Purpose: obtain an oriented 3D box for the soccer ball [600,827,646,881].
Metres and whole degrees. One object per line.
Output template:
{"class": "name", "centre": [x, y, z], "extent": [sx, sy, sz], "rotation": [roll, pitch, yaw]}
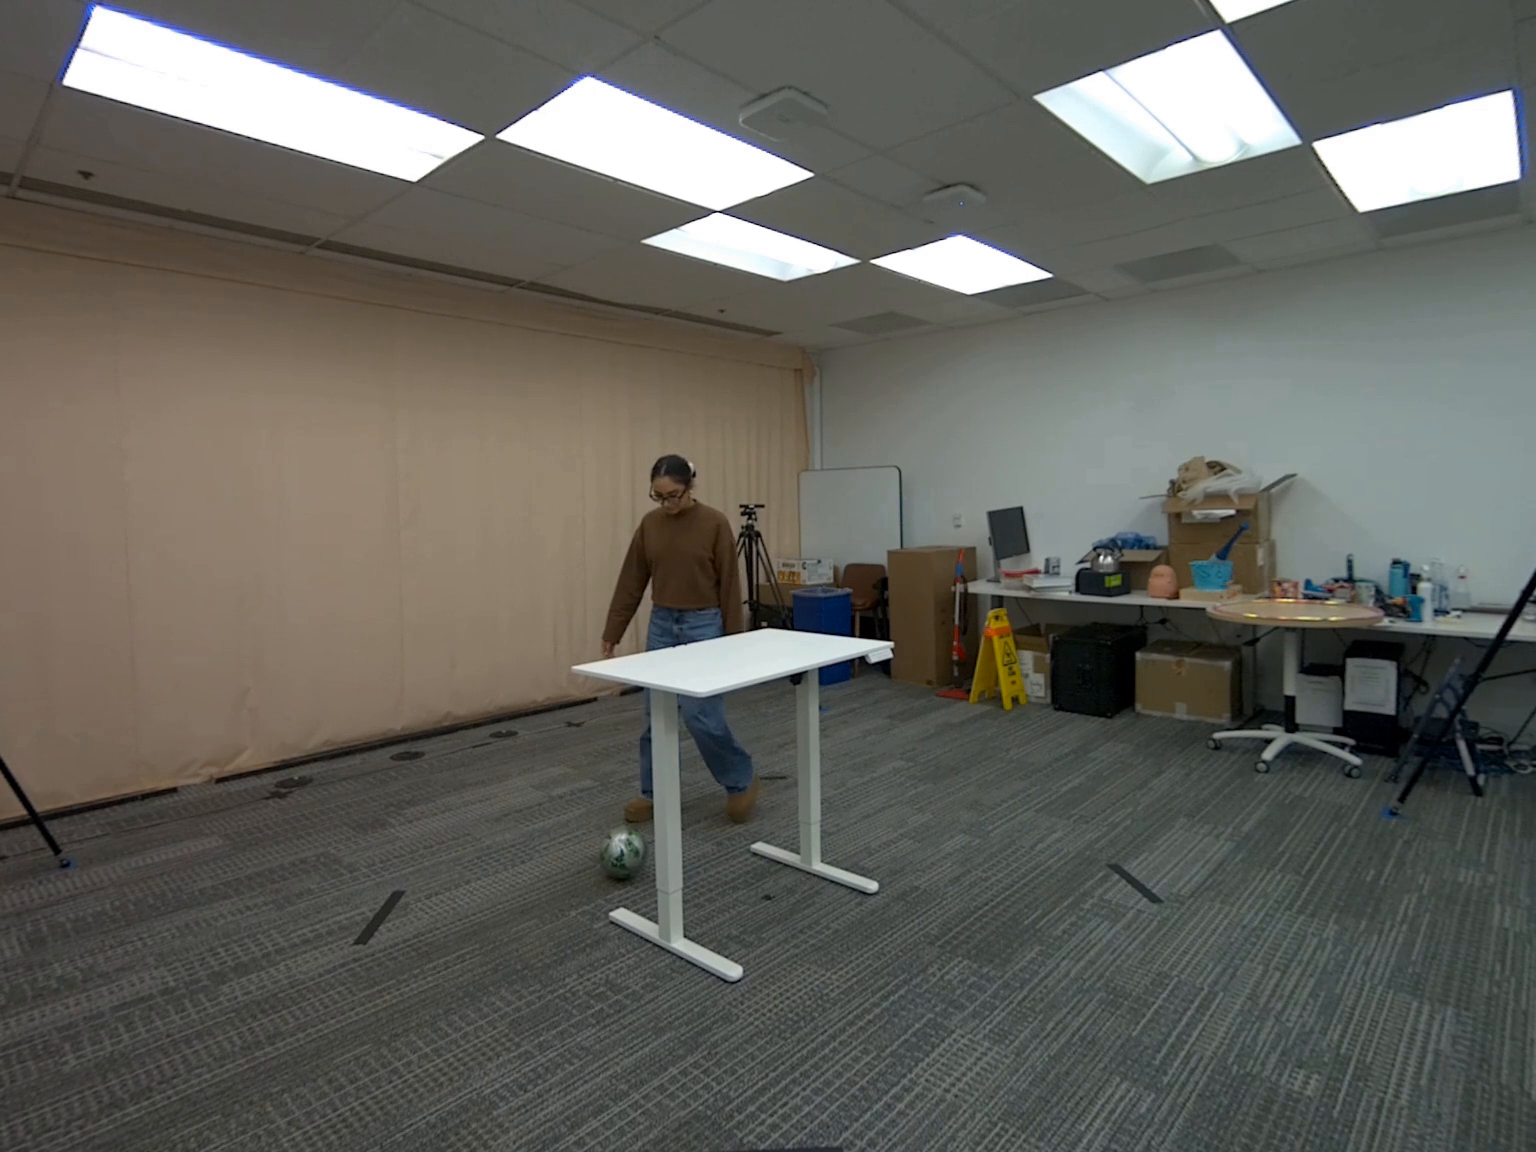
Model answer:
{"class": "soccer ball", "centre": [-0.553, 1.043, 3.182], "extent": [0.187, 0.187, 0.188], "rotation": [-1, 4, -2]}
